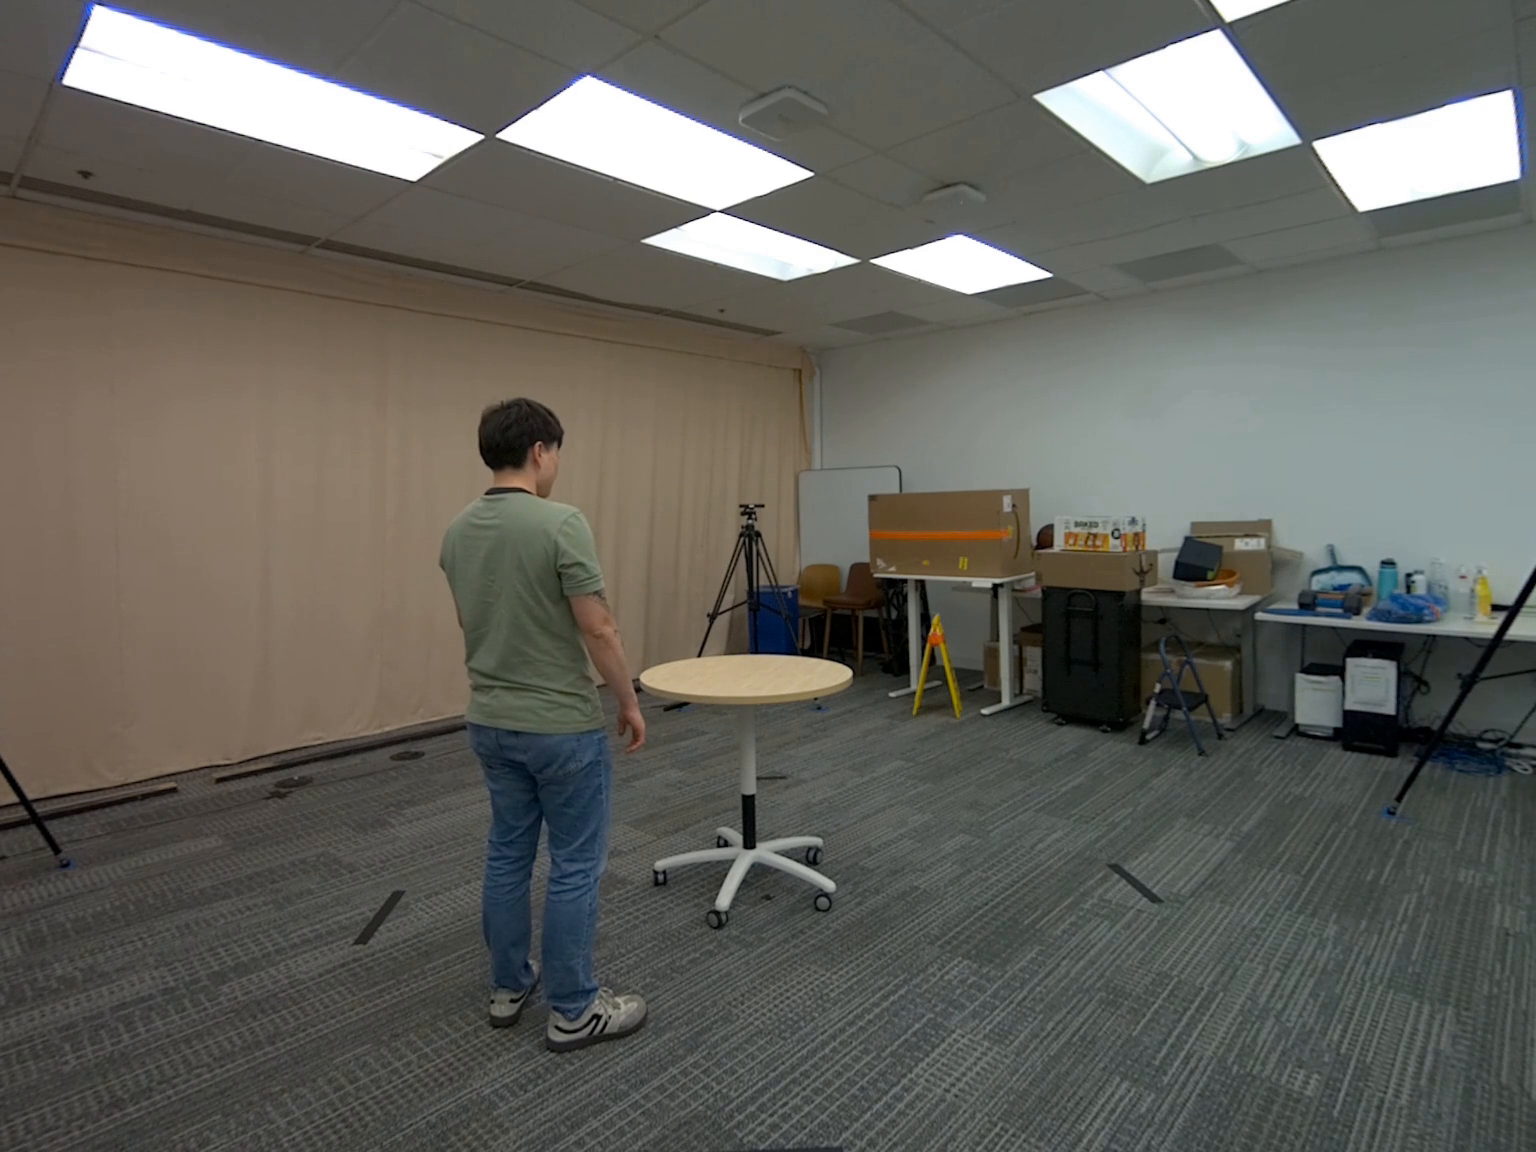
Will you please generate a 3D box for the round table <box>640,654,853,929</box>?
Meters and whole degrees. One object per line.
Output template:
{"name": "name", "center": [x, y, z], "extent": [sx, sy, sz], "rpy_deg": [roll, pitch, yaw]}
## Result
{"name": "round table", "center": [-0.064, 0.746, 3.065], "extent": [0.763, 0.792, 0.766], "rpy_deg": [-1, 4, -2]}
